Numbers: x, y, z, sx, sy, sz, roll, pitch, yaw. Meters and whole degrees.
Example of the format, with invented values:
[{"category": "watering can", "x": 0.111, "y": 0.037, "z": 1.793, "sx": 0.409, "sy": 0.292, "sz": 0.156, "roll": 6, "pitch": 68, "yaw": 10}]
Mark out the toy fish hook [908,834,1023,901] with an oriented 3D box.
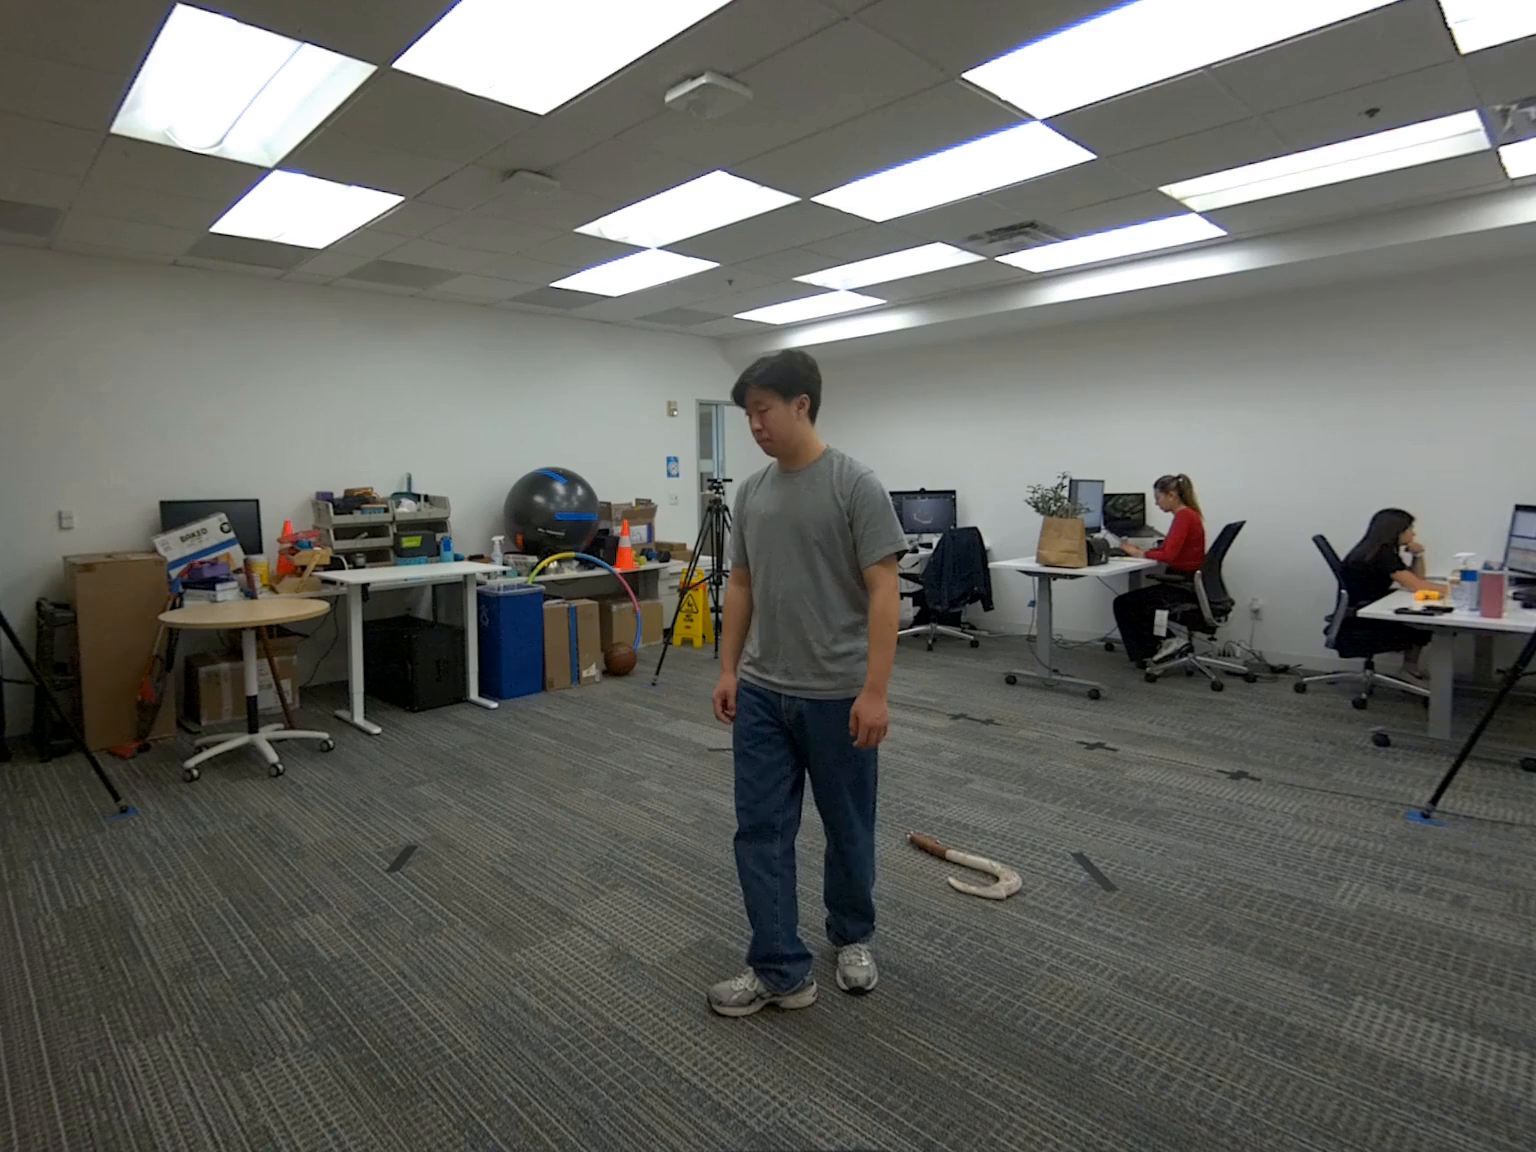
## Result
[{"category": "toy fish hook", "x": 0.654, "y": 1.019, "z": 3.028, "sx": 0.219, "sy": 0.048, "sz": 0.522, "roll": -5, "pitch": 7, "yaw": -36}]
